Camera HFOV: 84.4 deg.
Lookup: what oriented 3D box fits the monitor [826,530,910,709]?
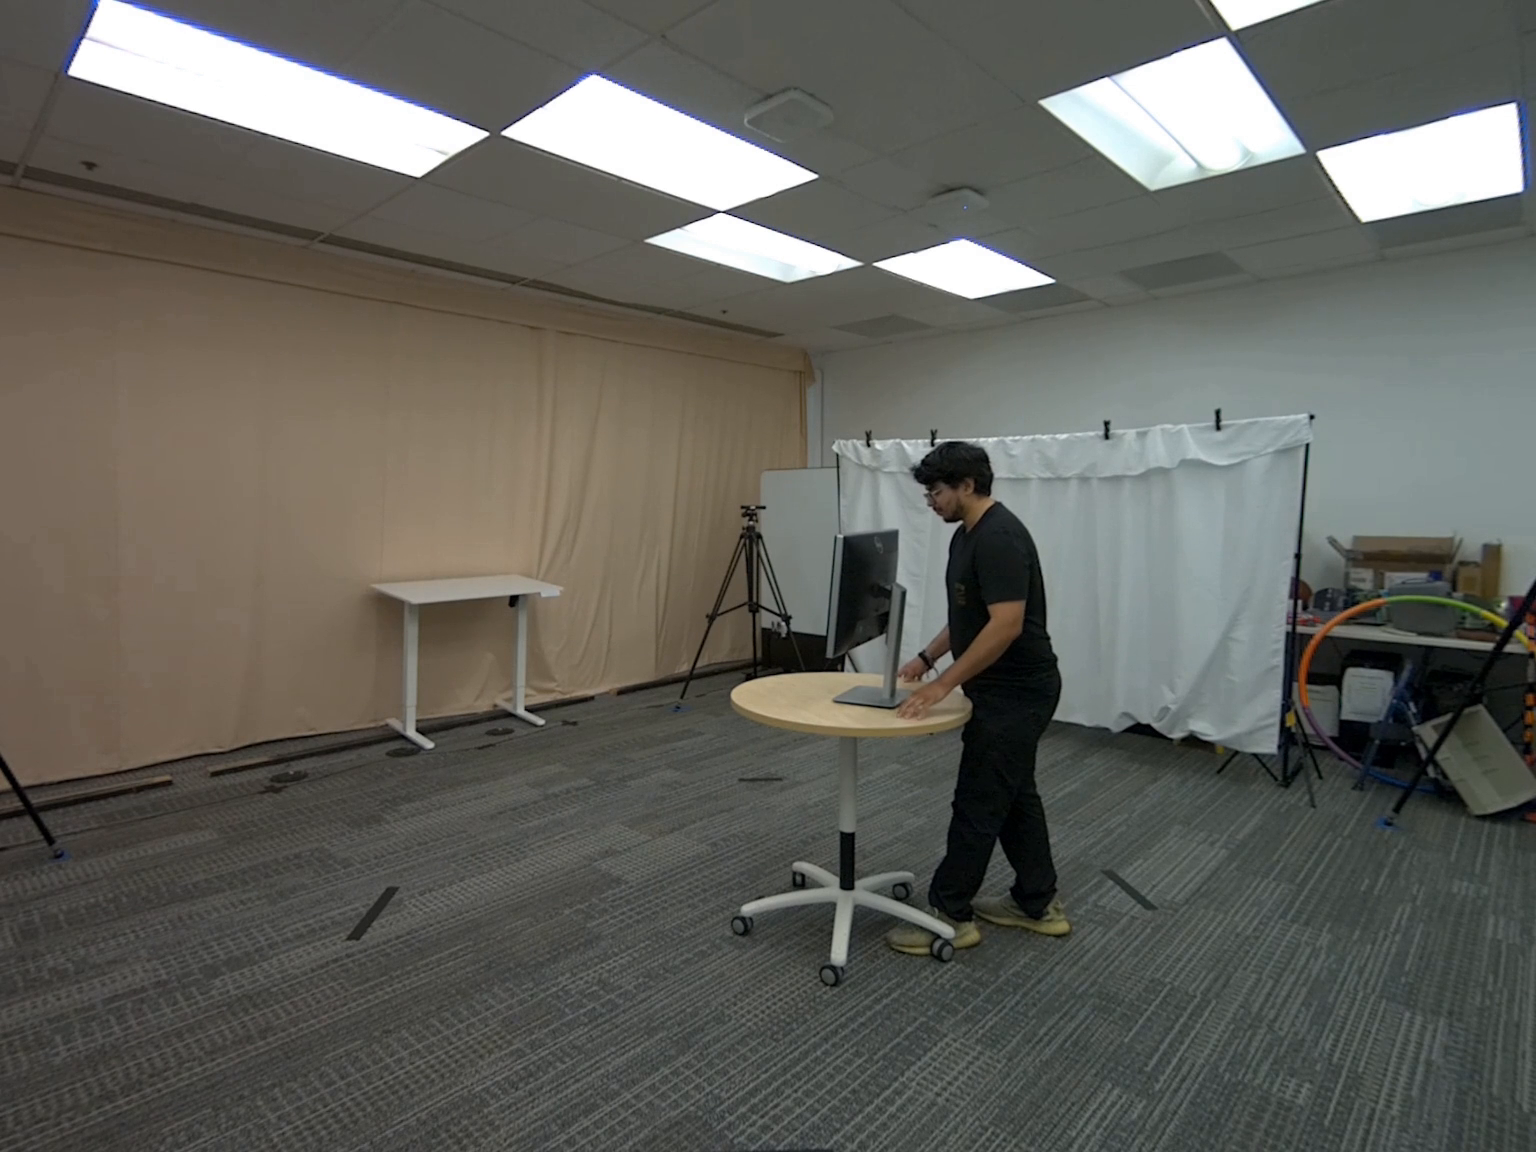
[{"bbox_3d":[0.375,0.135,2.665,0.216,0.552,0.551,4,5,27],"label":"monitor"}]
